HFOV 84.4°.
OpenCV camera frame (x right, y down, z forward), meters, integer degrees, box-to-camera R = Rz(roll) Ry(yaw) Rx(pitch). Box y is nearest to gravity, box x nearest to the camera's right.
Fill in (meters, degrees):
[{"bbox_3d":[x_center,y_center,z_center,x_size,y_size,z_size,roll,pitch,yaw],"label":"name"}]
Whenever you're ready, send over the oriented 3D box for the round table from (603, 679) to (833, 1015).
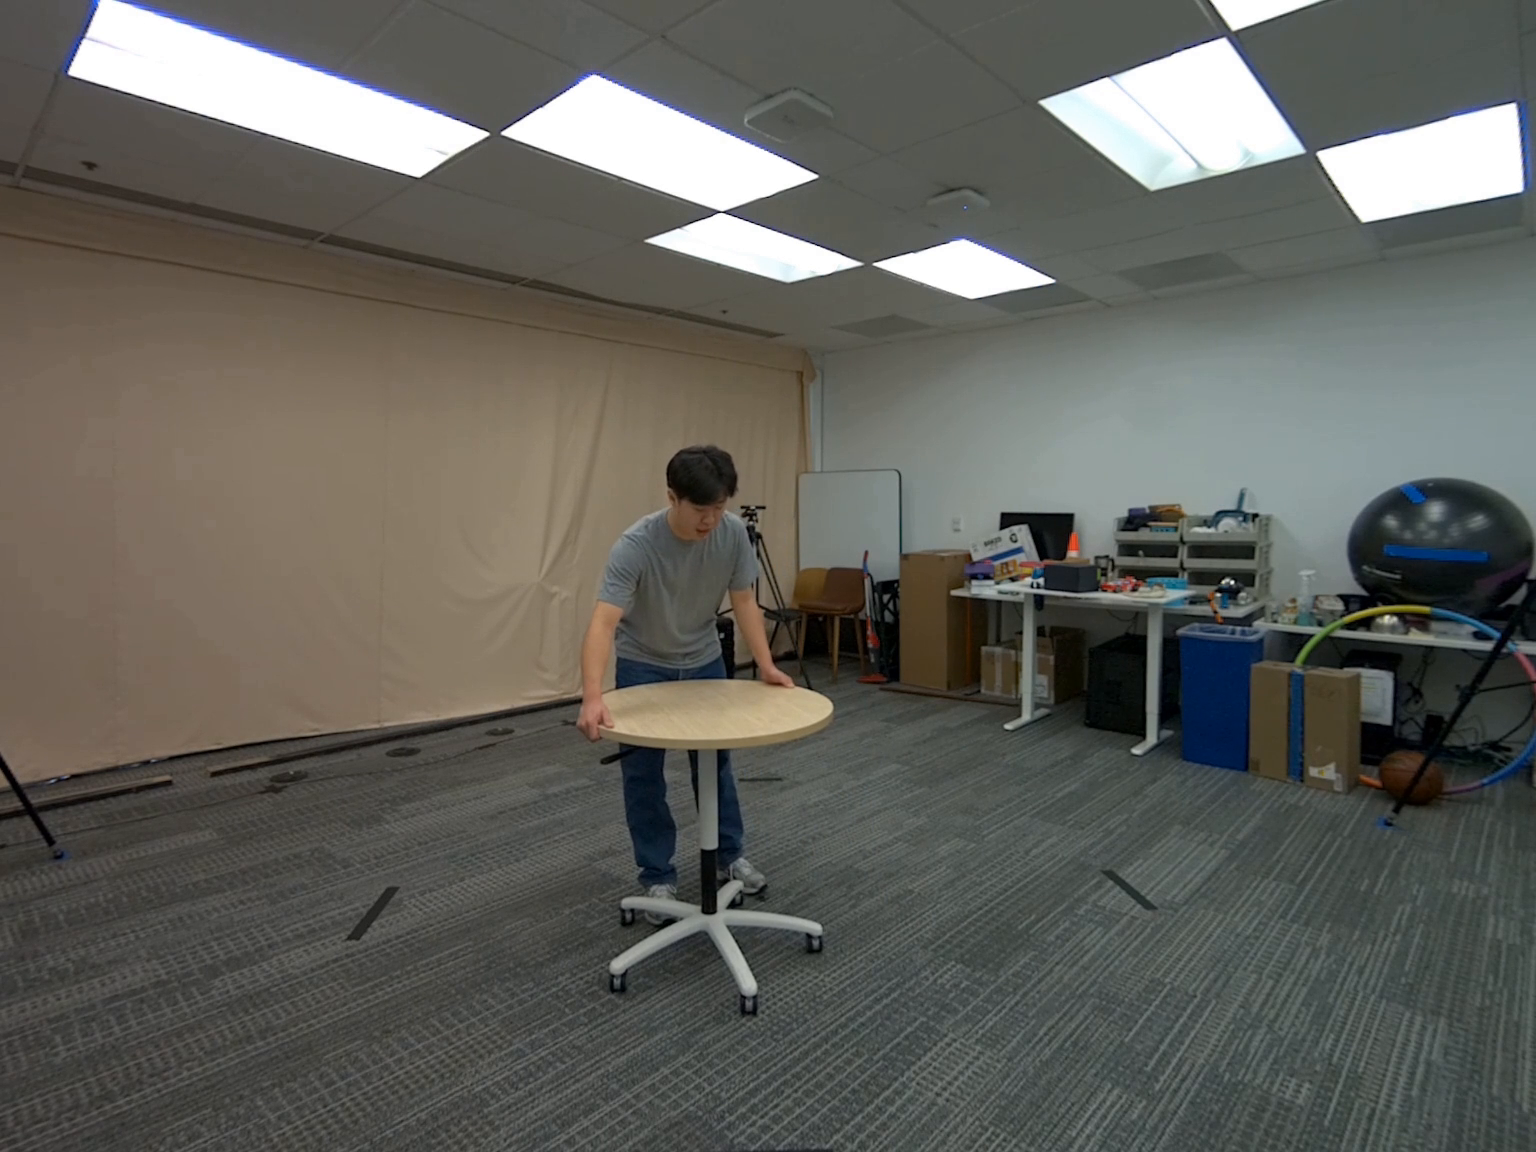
[{"bbox_3d":[-0.174,0.788,2.581,0.763,0.792,0.767,-1,4,-2],"label":"round table"}]
